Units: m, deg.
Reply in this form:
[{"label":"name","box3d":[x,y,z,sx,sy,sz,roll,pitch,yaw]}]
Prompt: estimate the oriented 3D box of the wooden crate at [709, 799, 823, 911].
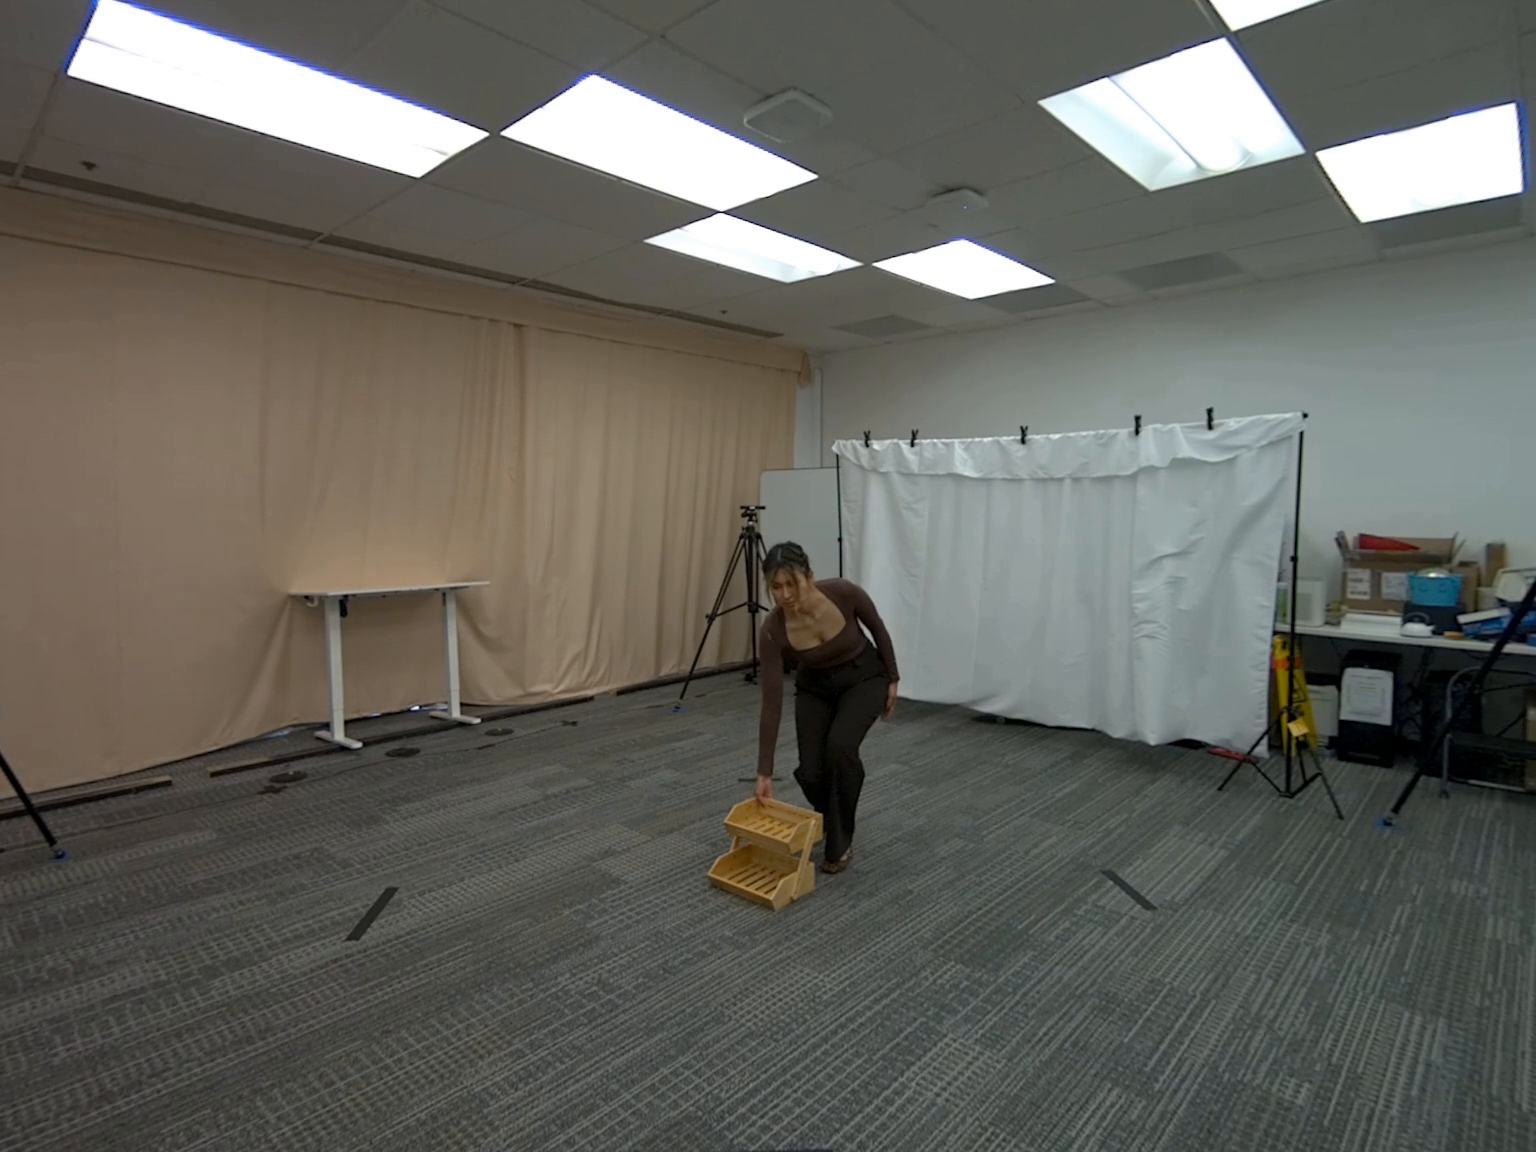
[{"label":"wooden crate","box3d":[-0.008,0.998,3.081,0.335,0.273,0.293,4,5,40]}]
